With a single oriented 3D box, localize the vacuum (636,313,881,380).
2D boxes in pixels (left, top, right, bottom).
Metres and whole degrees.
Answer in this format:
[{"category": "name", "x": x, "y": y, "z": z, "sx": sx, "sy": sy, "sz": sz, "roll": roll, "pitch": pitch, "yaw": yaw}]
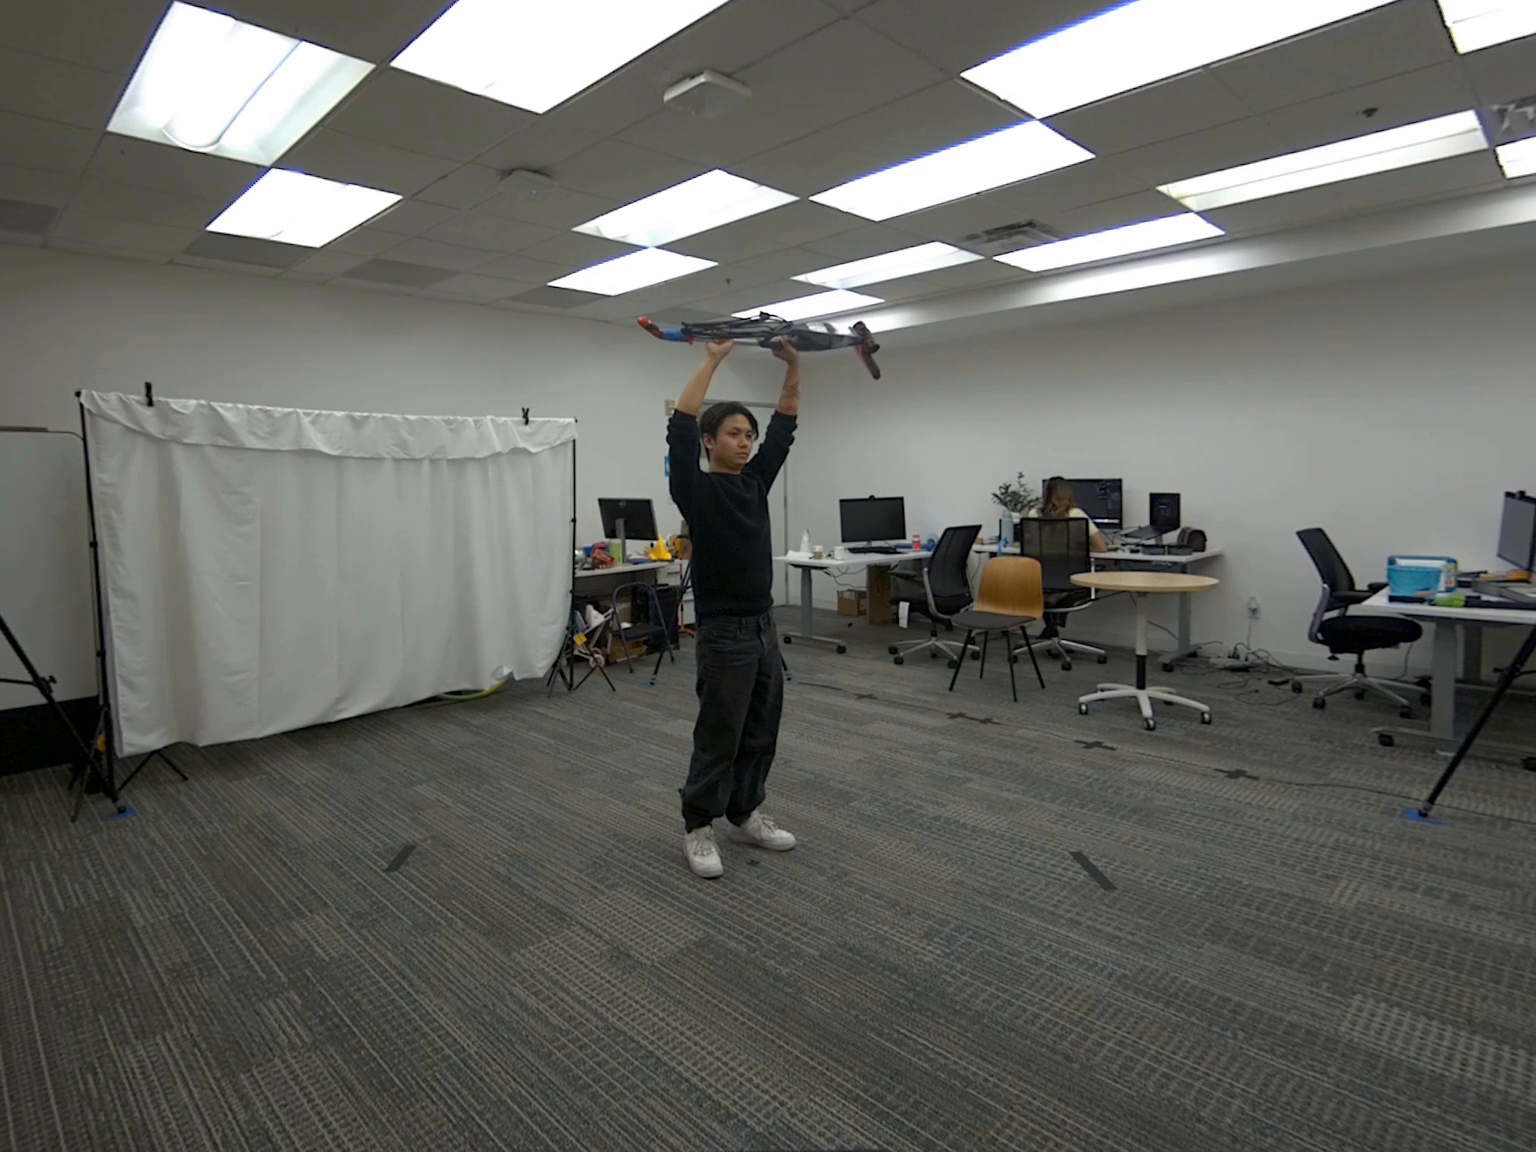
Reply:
[{"category": "vacuum", "x": -0.004, "y": -0.859, "z": 3.023, "sx": 1.022, "sy": 0.260, "sz": 0.143, "roll": -6, "pitch": -33, "yaw": -40}]
